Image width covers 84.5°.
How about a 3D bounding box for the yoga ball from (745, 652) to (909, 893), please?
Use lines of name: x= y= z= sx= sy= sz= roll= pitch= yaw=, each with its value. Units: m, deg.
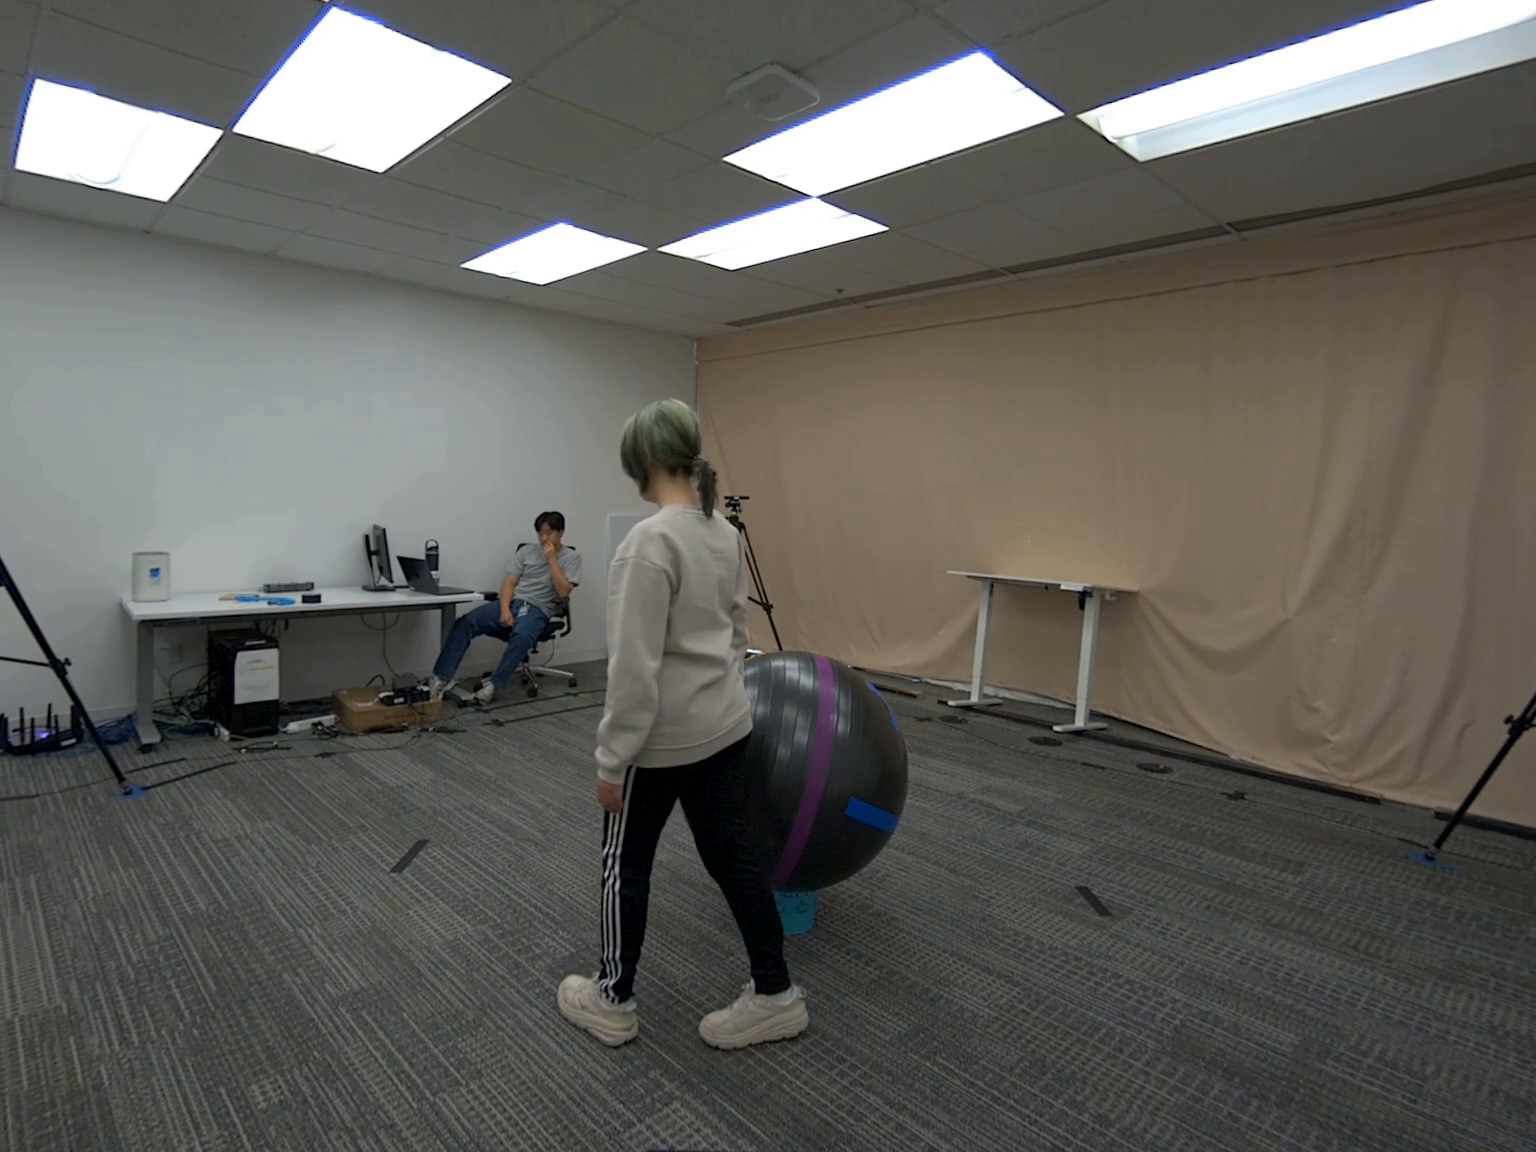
yoga ball: x=0.067 y=0.632 z=2.753 sx=0.757 sy=0.756 sz=0.761 roll=1 pitch=4 yaw=-1
